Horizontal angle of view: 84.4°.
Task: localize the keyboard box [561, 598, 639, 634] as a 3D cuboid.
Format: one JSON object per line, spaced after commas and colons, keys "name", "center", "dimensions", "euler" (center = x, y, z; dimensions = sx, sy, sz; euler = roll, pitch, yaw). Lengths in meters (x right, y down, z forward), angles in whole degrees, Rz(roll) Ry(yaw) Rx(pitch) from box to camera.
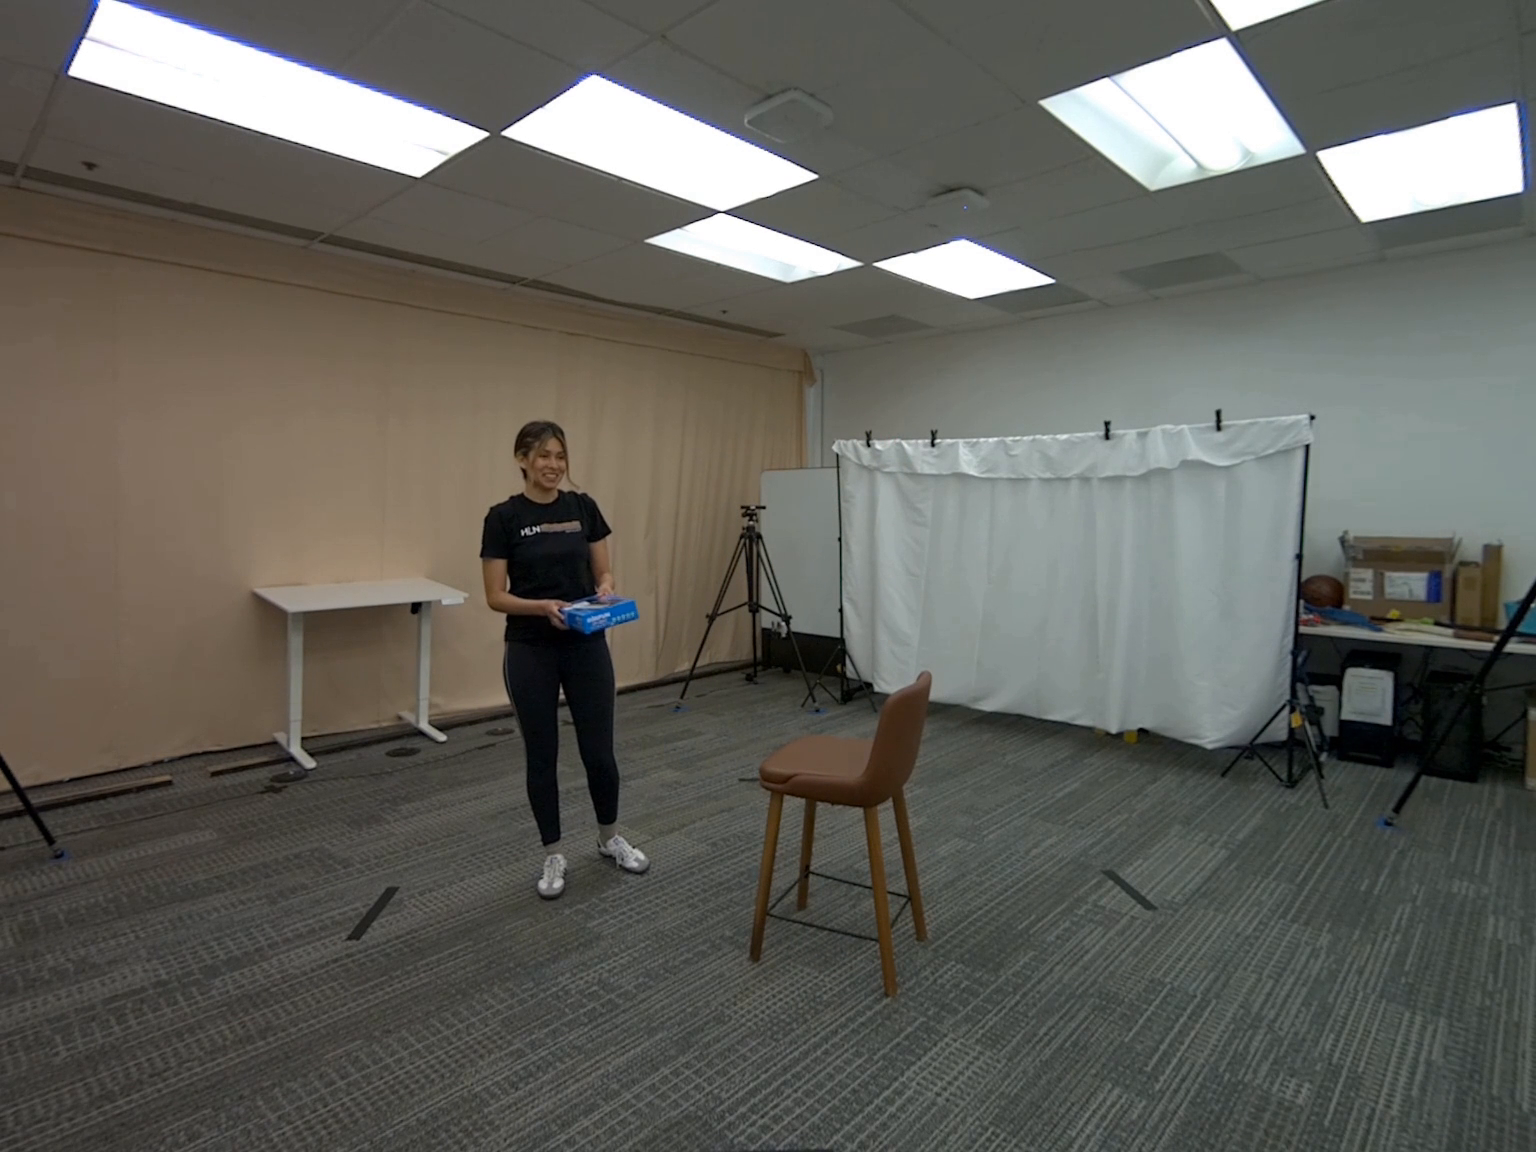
{"name": "keyboard box", "center": [-0.563, 0.121, 2.738], "dimensions": [0.173, 0.059, 0.447], "euler": [-17, 8, -24]}
